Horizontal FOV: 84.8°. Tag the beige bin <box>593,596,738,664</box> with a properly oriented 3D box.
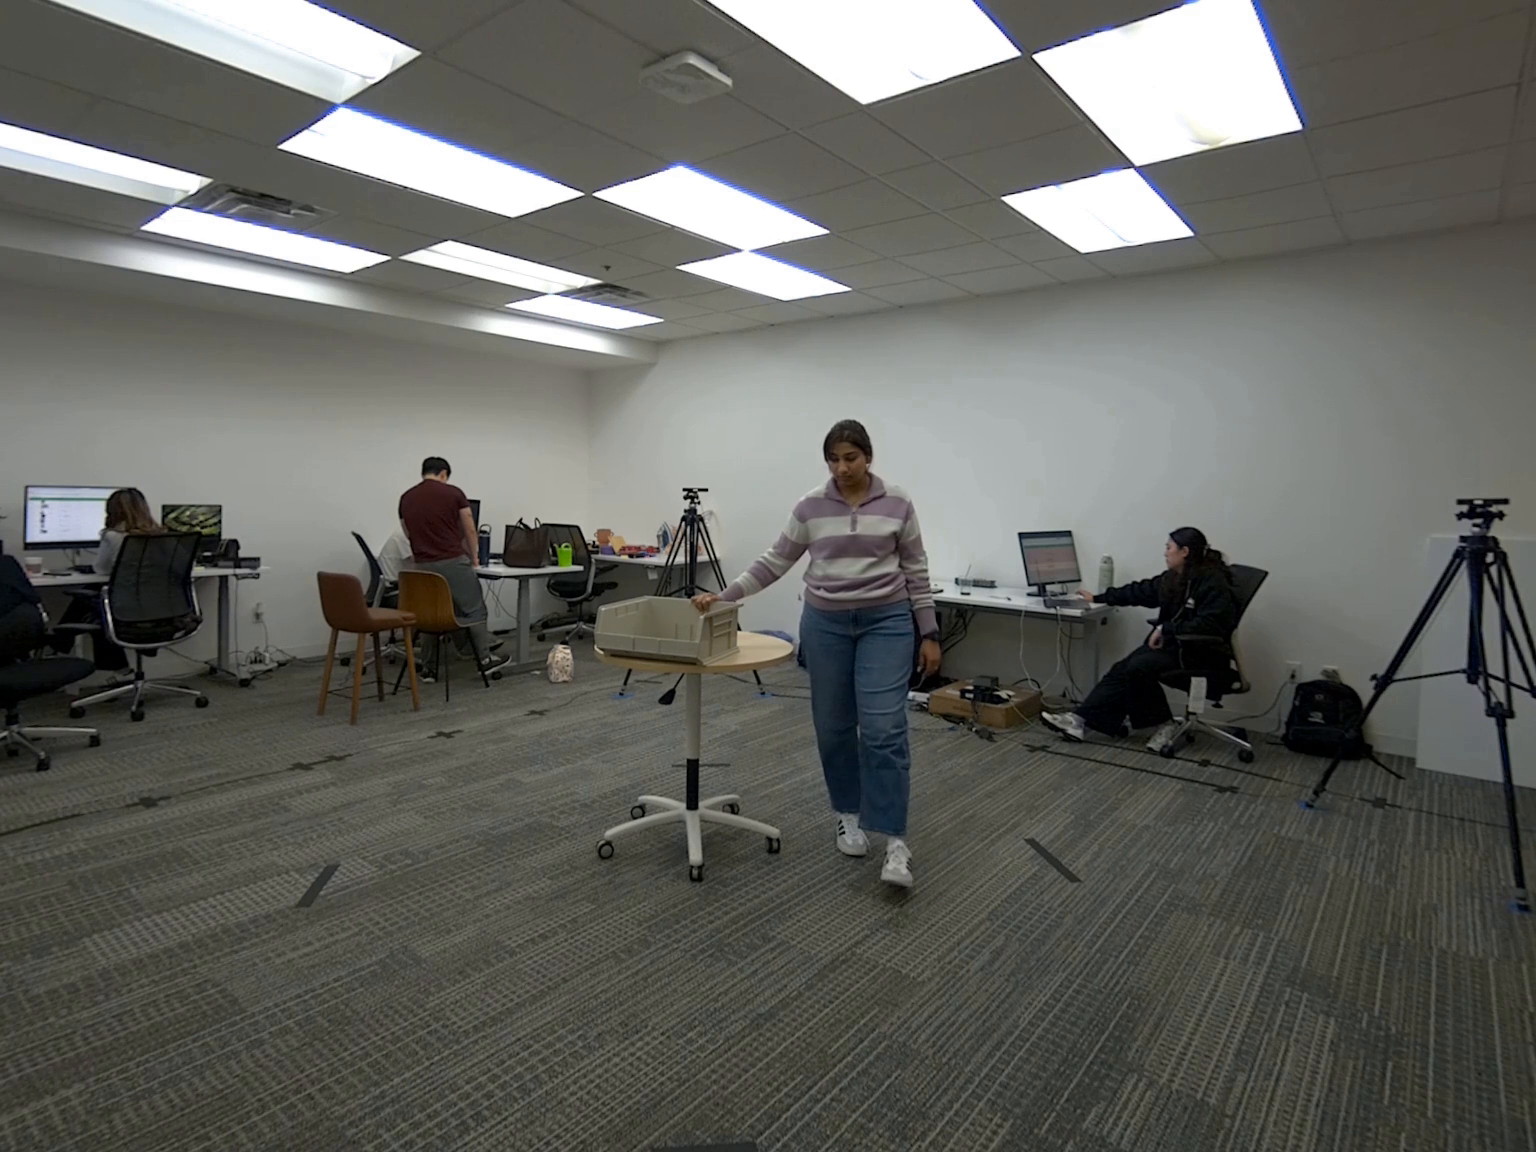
[{"bbox_3d":[-0.370,0.197,3.114,0.432,0.188,0.370,3,5,21],"label":"beige bin"}]
